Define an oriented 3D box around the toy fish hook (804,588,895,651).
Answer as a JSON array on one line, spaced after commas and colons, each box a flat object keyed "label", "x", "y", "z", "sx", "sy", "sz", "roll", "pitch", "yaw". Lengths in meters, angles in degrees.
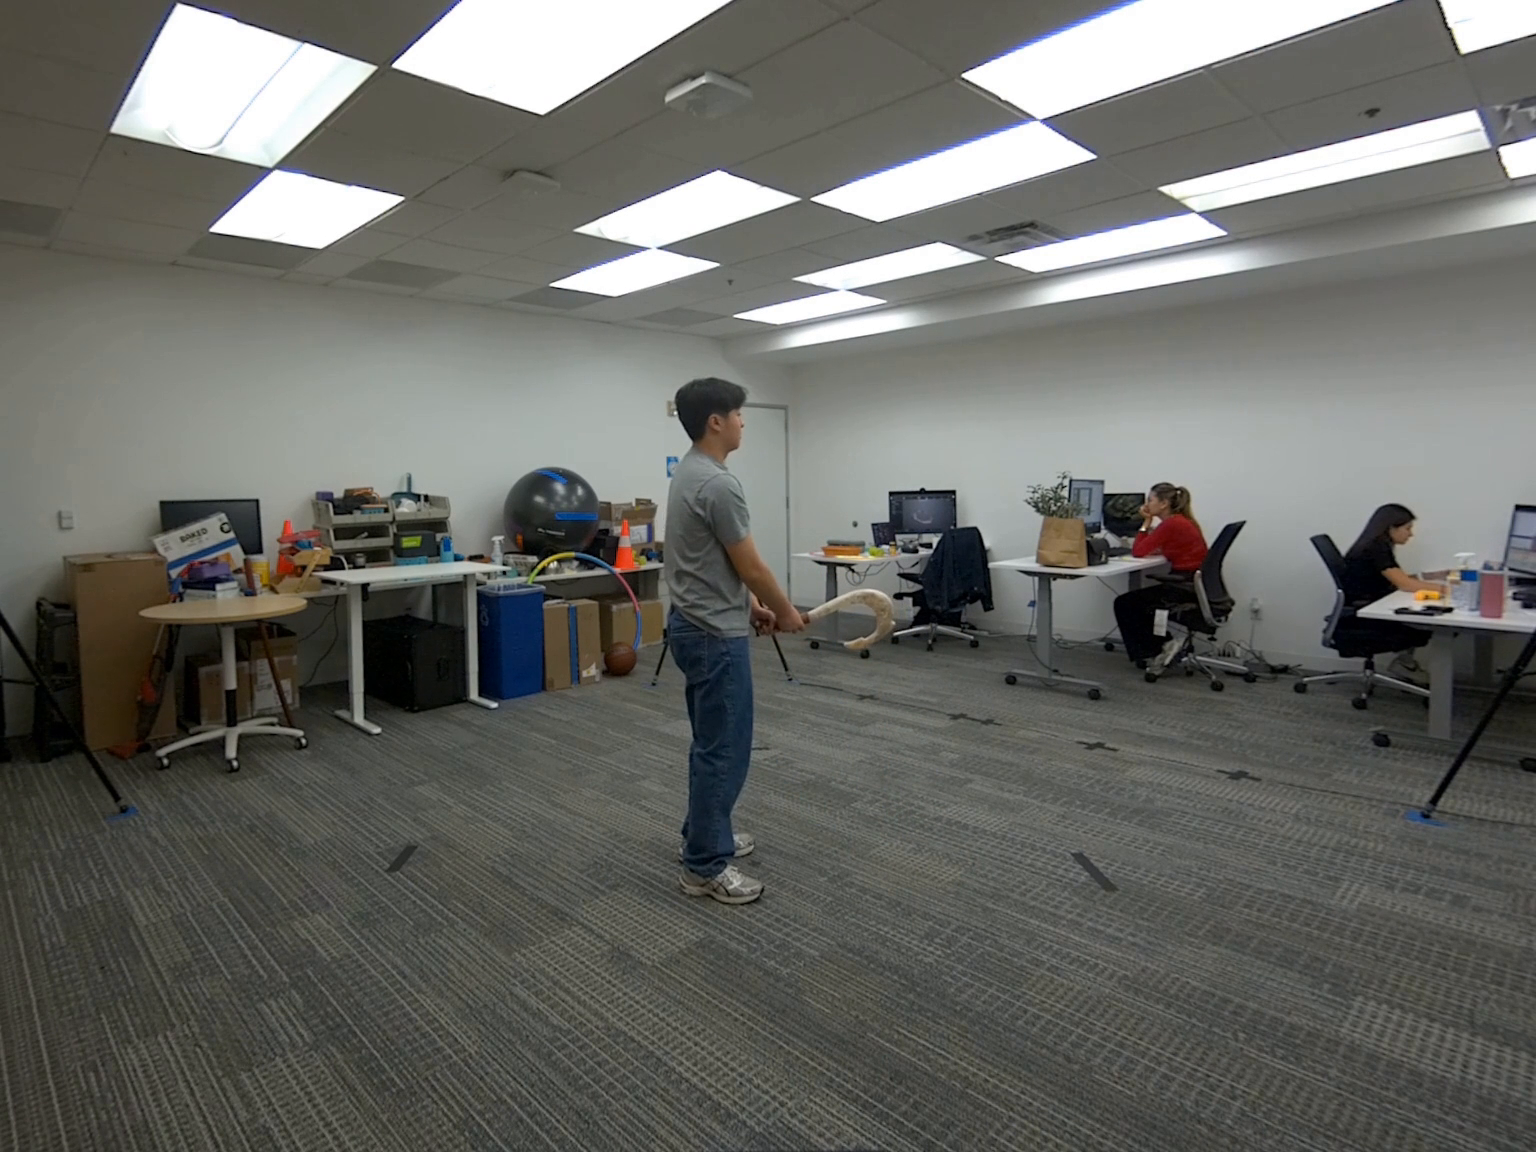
[{"label": "toy fish hook", "x": 0.210, "y": 0.185, "z": 3.084, "sx": 0.507, "sy": 0.221, "sz": 0.049, "roll": -11, "pitch": 12, "yaw": 2}]
